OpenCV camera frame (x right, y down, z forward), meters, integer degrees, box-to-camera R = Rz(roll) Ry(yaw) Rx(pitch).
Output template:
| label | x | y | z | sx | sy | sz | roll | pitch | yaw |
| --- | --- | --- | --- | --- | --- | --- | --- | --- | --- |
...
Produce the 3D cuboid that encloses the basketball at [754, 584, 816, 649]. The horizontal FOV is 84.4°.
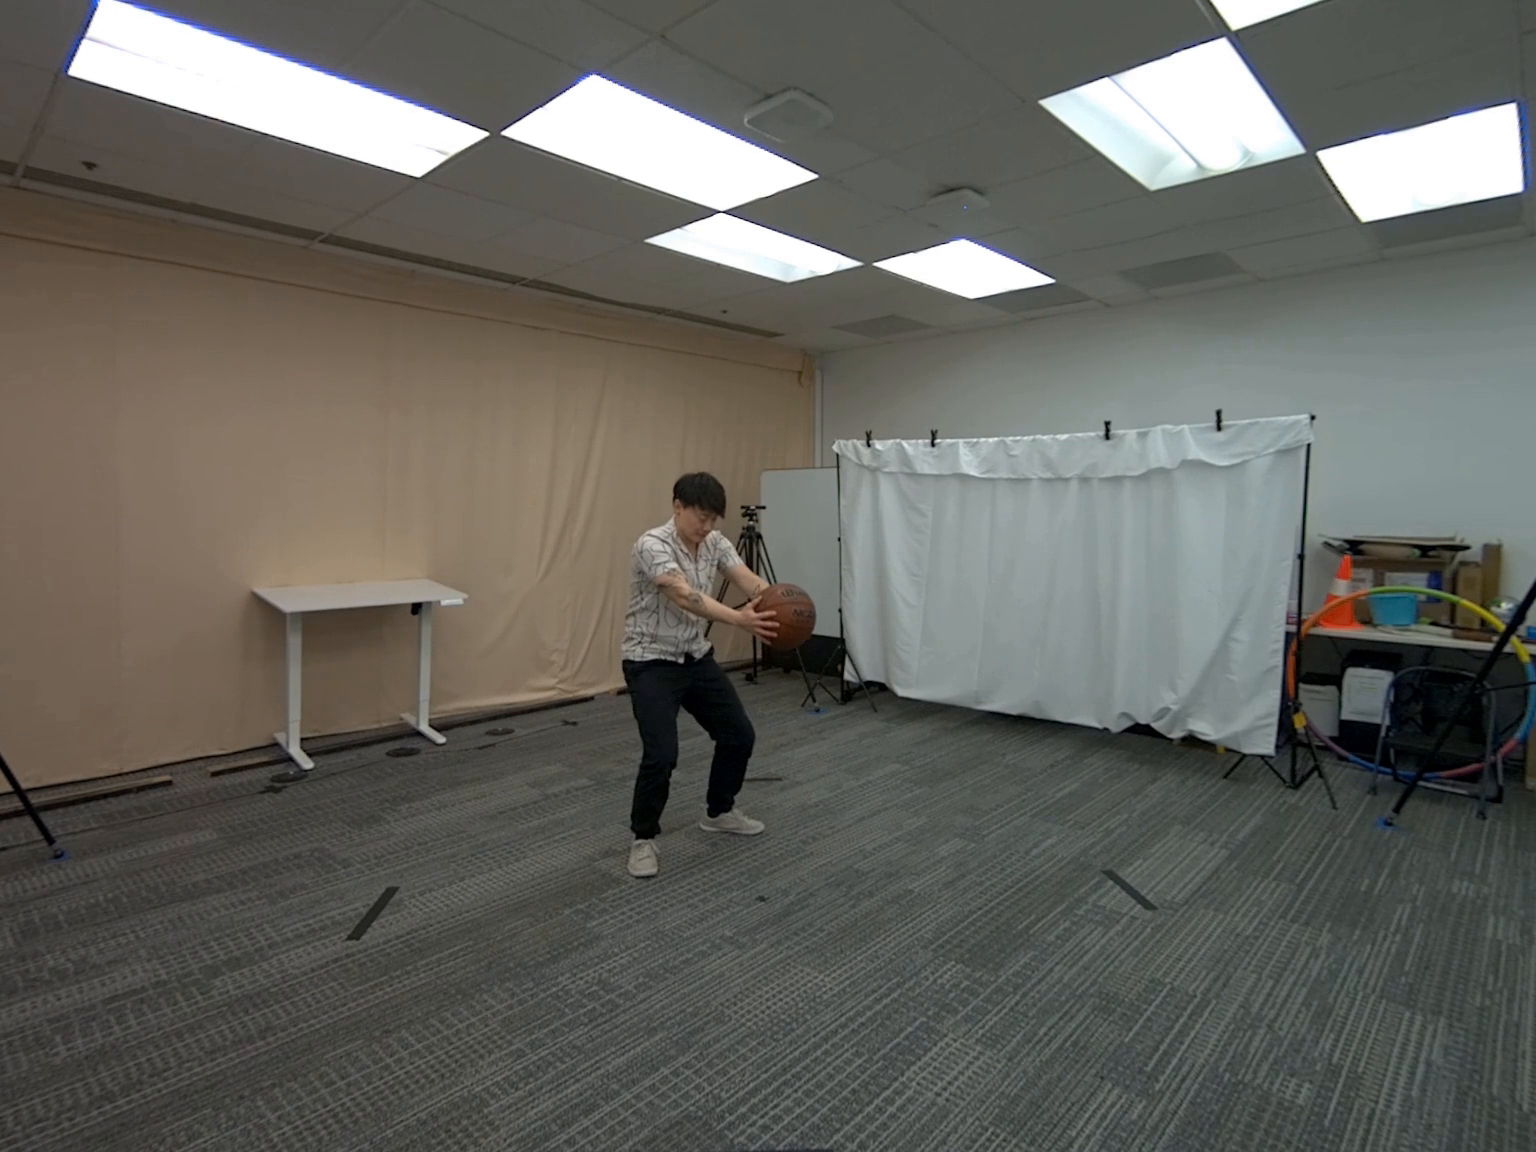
| label | x | y | z | sx | sy | sz | roll | pitch | yaw |
| --- | --- | --- | --- | --- | --- | --- | --- | --- | --- |
| basketball | 0.056 | 0.150 | 3.037 | 0.236 | 0.235 | 0.237 | 0 | 4 | -2 |
